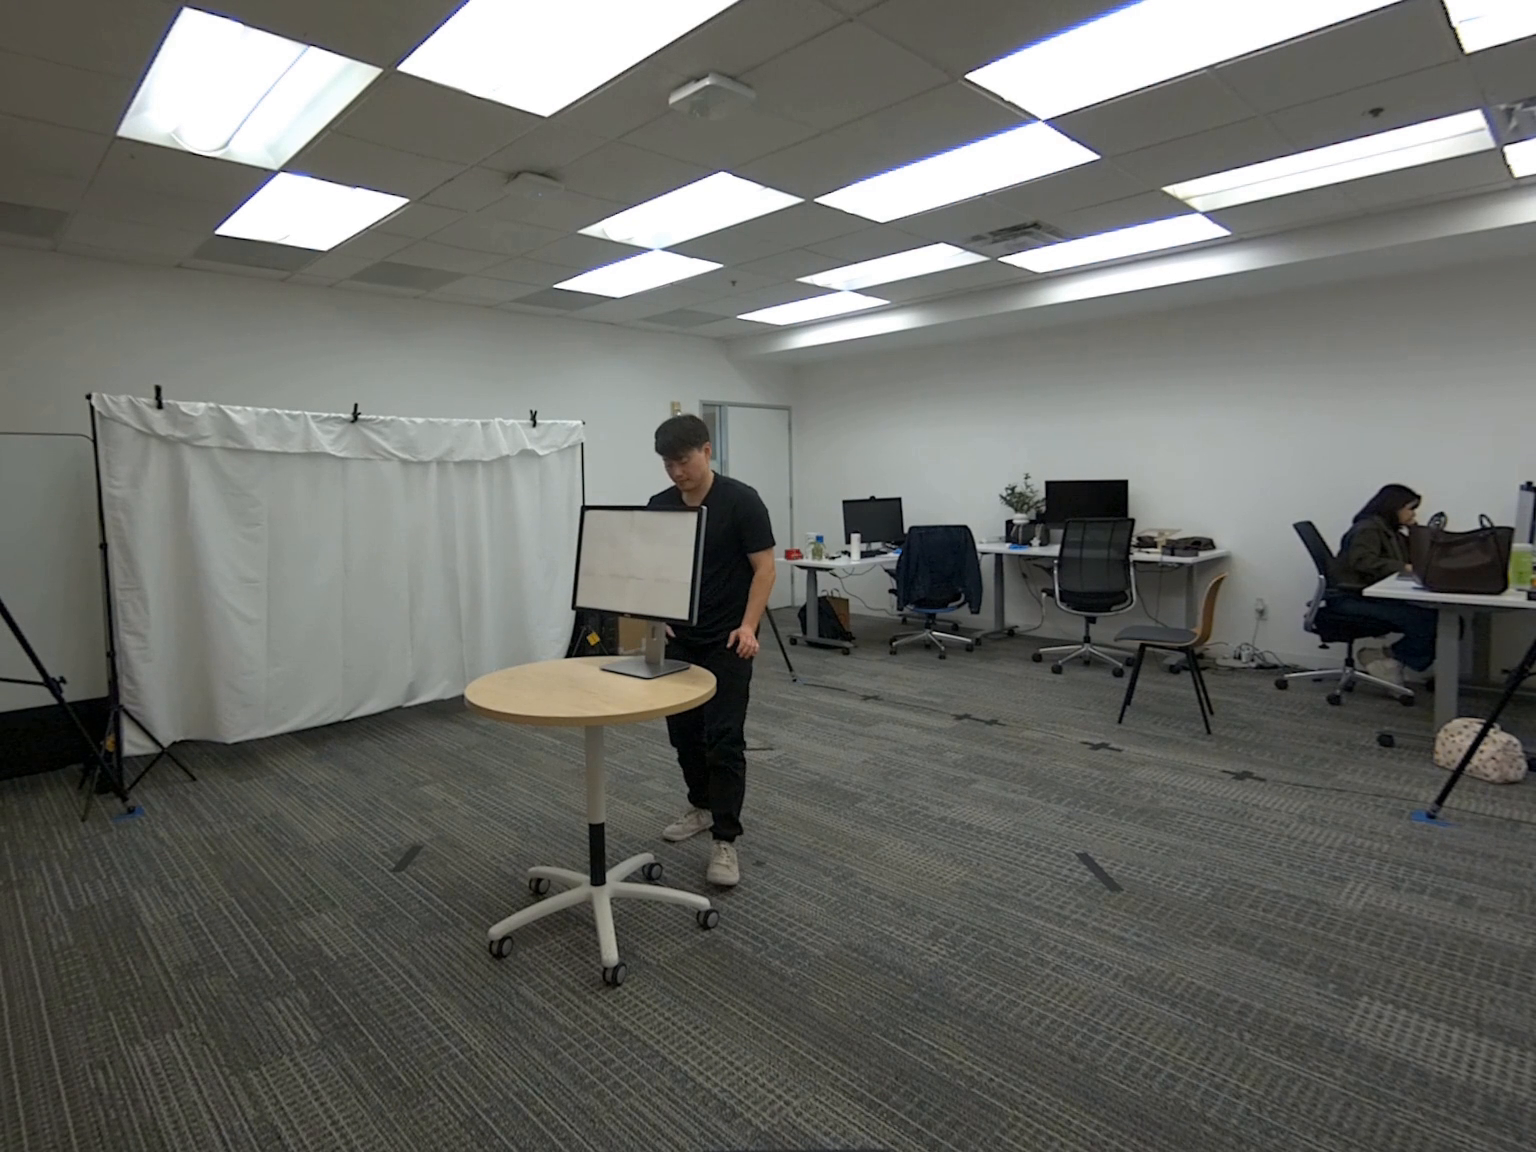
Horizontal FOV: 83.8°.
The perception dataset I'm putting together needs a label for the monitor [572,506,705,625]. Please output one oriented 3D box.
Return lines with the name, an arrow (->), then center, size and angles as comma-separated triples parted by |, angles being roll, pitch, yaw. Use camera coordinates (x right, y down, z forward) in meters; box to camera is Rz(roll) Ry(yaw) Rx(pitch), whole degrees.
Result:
monitor -> -0.410, 0.045, 2.796 | 0.555, 0.520, 0.182 | 3, 7, 39
